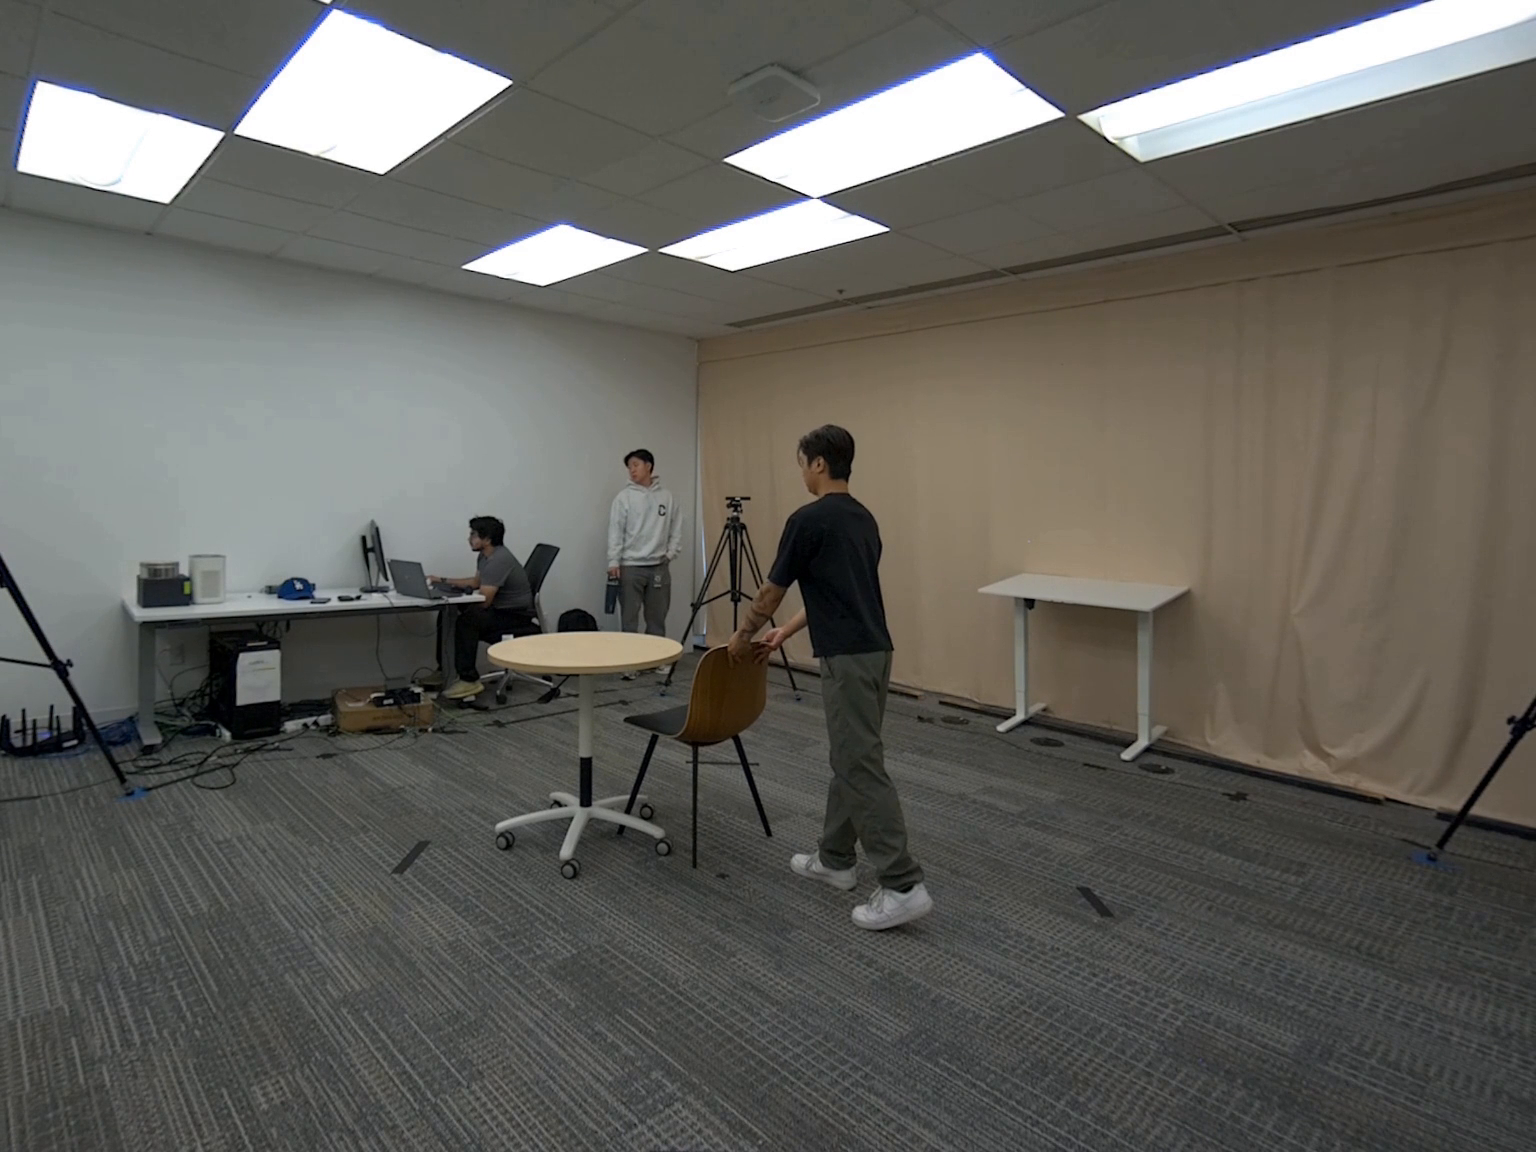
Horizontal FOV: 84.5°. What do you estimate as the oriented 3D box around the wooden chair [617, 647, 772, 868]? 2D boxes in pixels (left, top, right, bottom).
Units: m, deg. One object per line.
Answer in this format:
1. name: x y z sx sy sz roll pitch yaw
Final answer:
1. wooden chair: -0.301 0.642 3.445 0.537 0.874 0.467 11 8 41
